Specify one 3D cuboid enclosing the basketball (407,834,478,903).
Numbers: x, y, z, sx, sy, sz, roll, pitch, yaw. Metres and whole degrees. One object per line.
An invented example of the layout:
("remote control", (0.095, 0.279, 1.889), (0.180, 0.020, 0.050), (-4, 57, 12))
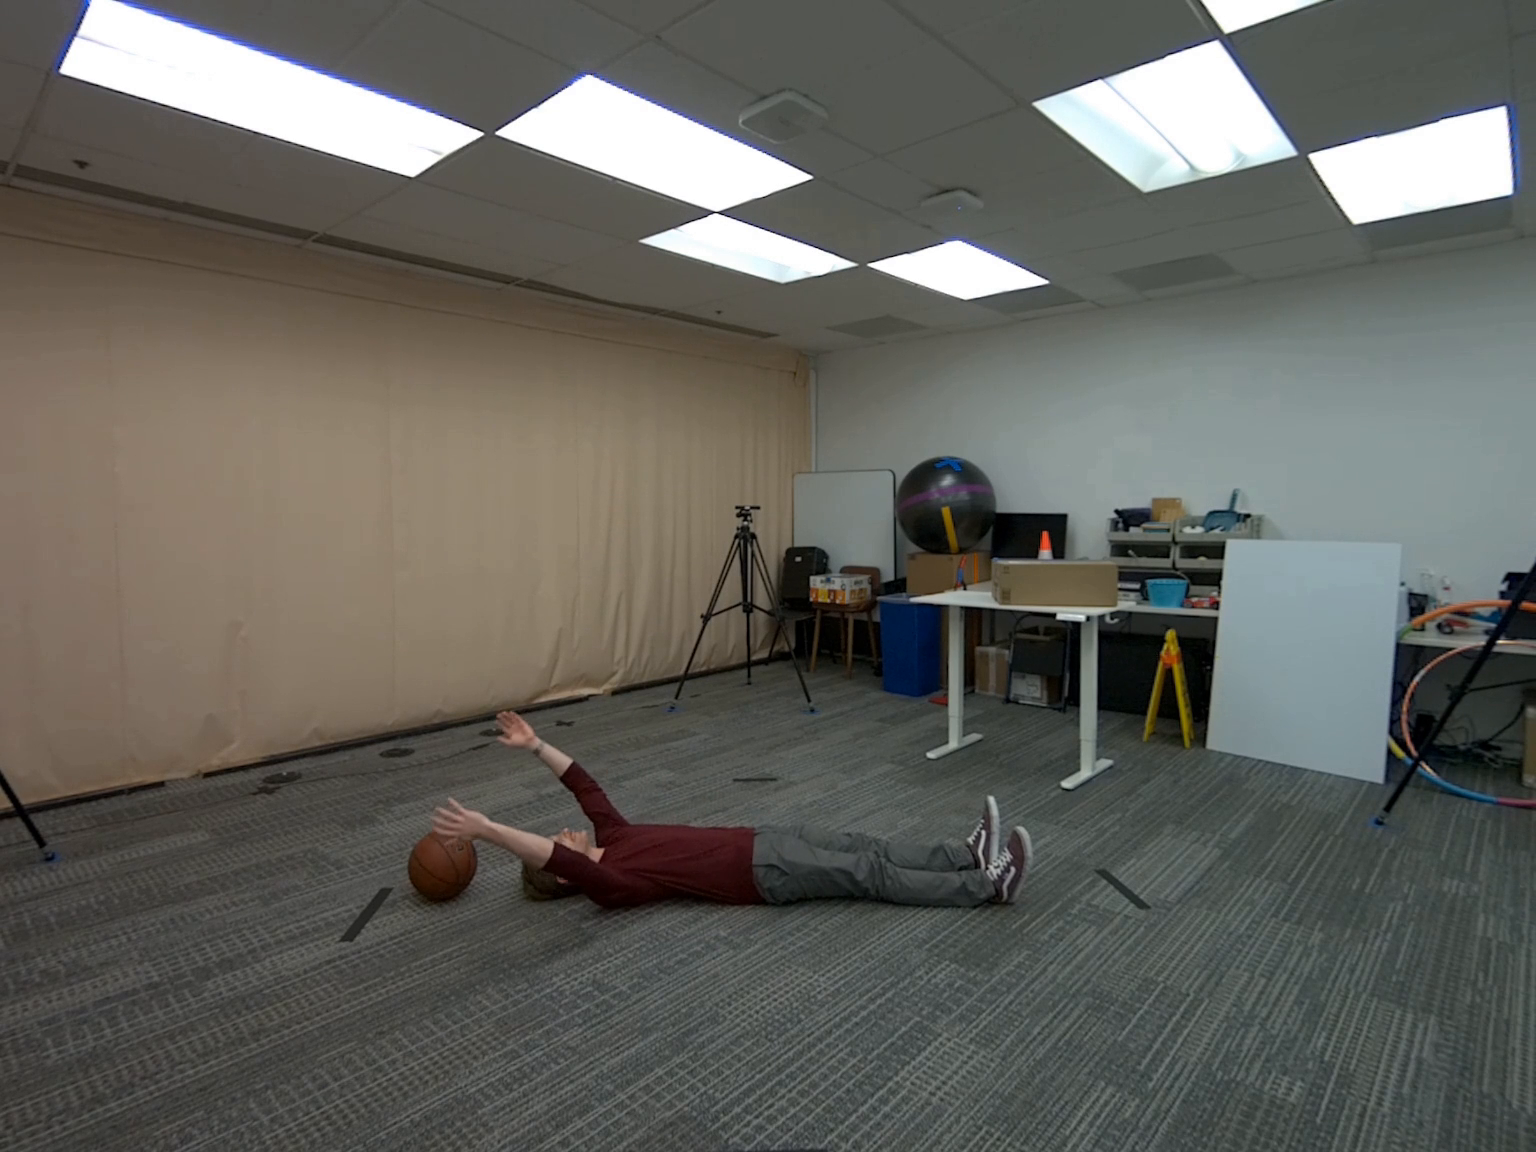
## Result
("basketball", (-1.167, 1.033, 3.012), (0.236, 0.235, 0.237), (0, 4, -2))
